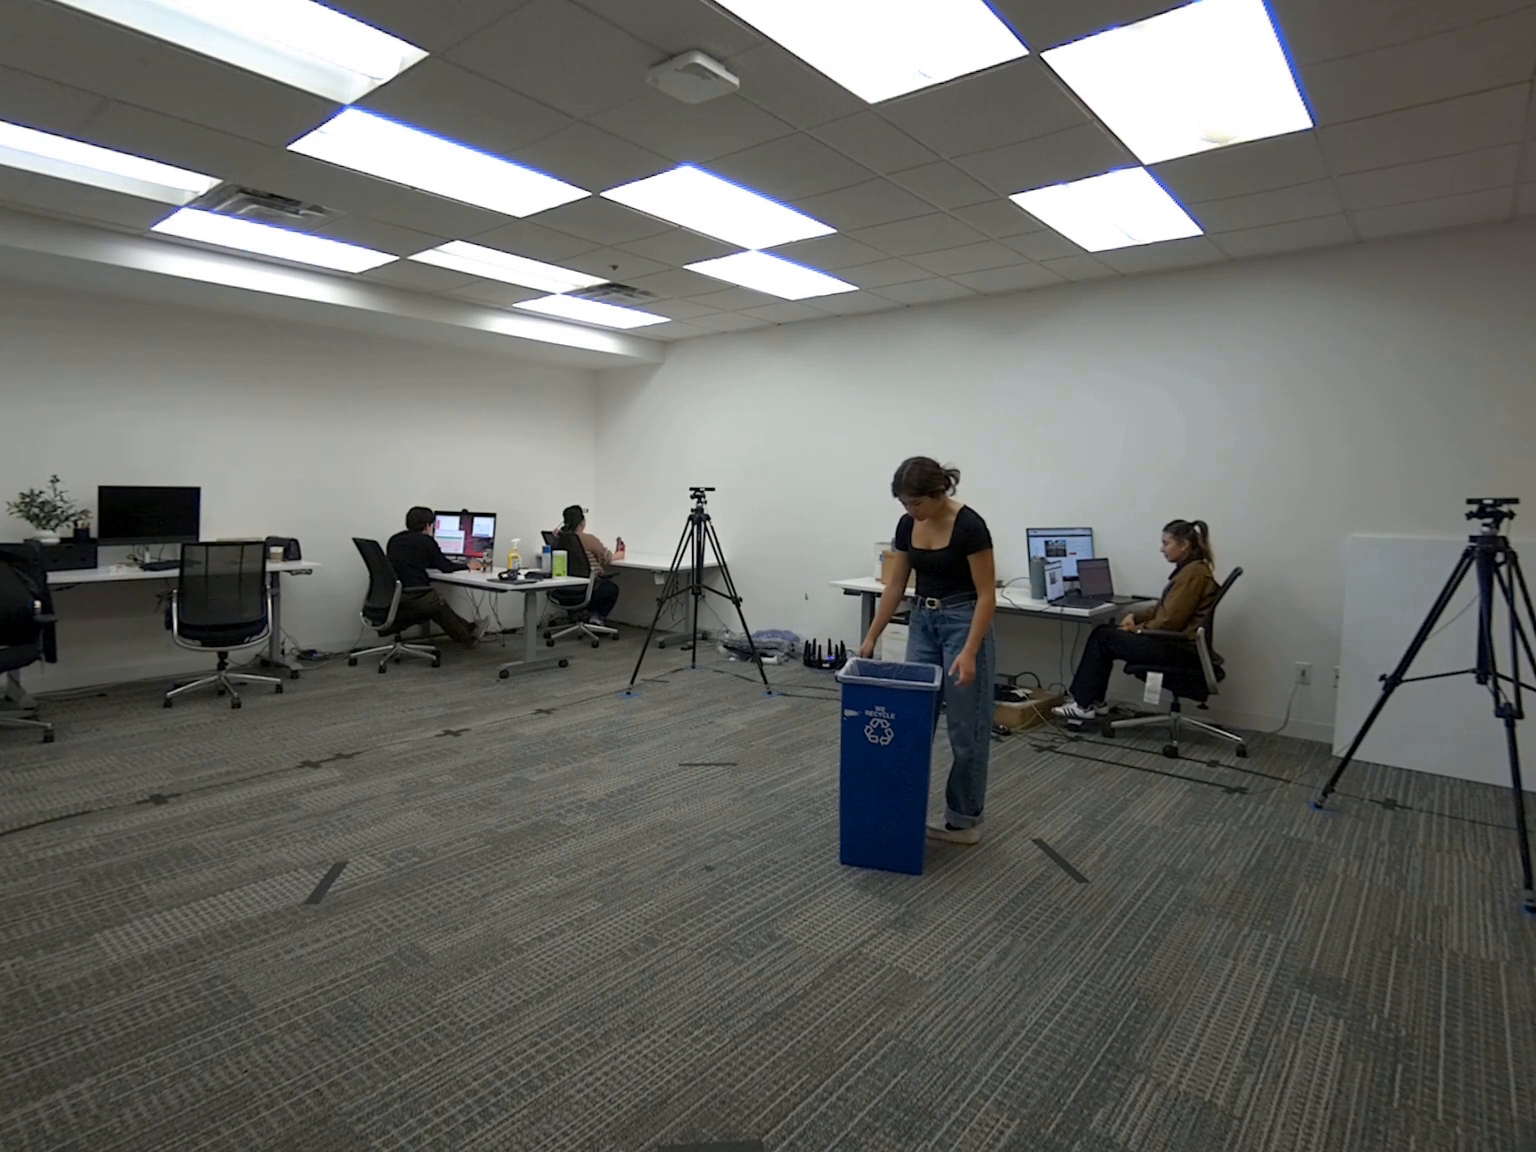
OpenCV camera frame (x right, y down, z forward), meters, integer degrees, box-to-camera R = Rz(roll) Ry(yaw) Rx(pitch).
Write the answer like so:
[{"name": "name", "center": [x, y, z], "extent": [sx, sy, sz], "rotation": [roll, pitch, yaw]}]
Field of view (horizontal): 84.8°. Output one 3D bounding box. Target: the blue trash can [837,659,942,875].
[{"name": "blue trash can", "center": [0.455, 0.708, 3.257], "extent": [0.380, 0.711, 0.373], "rotation": [2, 3, 14]}]
